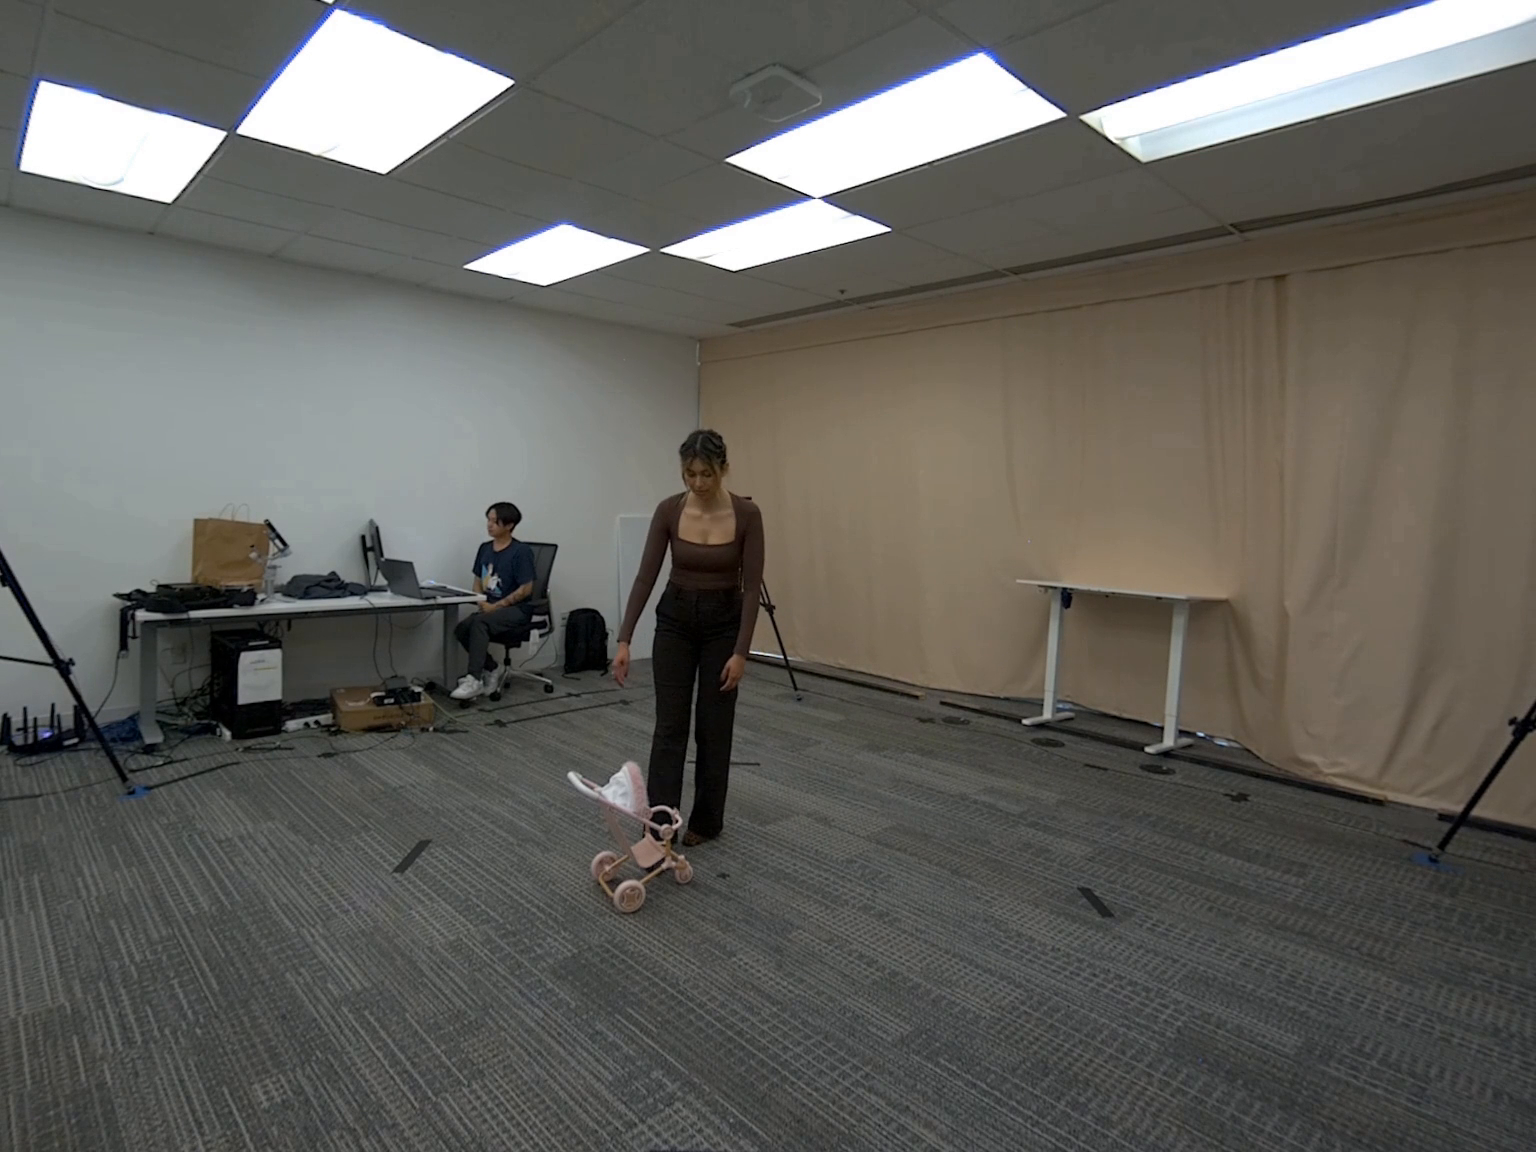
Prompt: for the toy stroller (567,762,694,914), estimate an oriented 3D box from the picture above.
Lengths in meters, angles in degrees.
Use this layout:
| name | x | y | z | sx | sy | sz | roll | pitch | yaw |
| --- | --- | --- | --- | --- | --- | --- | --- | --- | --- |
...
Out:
| name | x | y | z | sx | sy | sz | roll | pitch | yaw |
| --- | --- | --- | --- | --- | --- | --- | --- | --- | --- |
| toy stroller | -0.472 | 0.887 | 2.937 | 0.337 | 0.531 | 0.287 | -16 | 10 | -22 |
